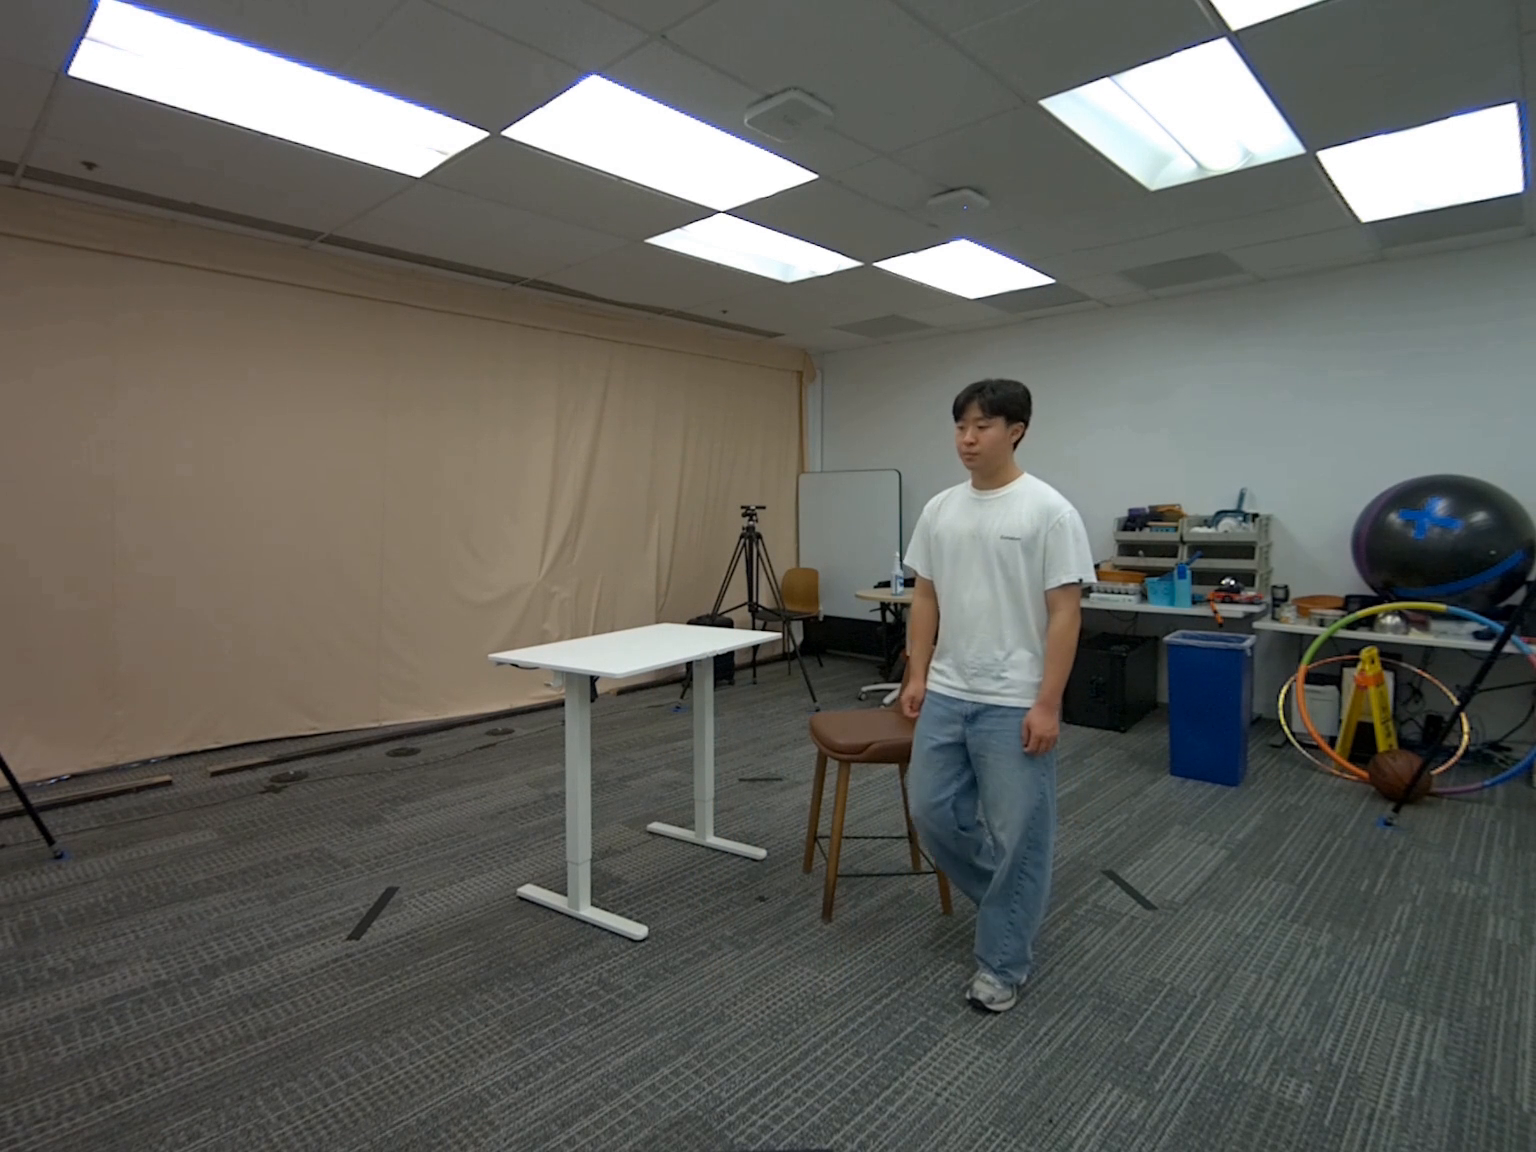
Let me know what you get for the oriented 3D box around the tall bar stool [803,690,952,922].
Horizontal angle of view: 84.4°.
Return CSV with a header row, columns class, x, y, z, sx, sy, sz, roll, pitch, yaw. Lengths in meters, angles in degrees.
class,x,y,z,sx,sy,sz,roll,pitch,yaw
tall bar stool,0.391,0.707,2.996,0.465,0.888,0.460,2,4,-6
